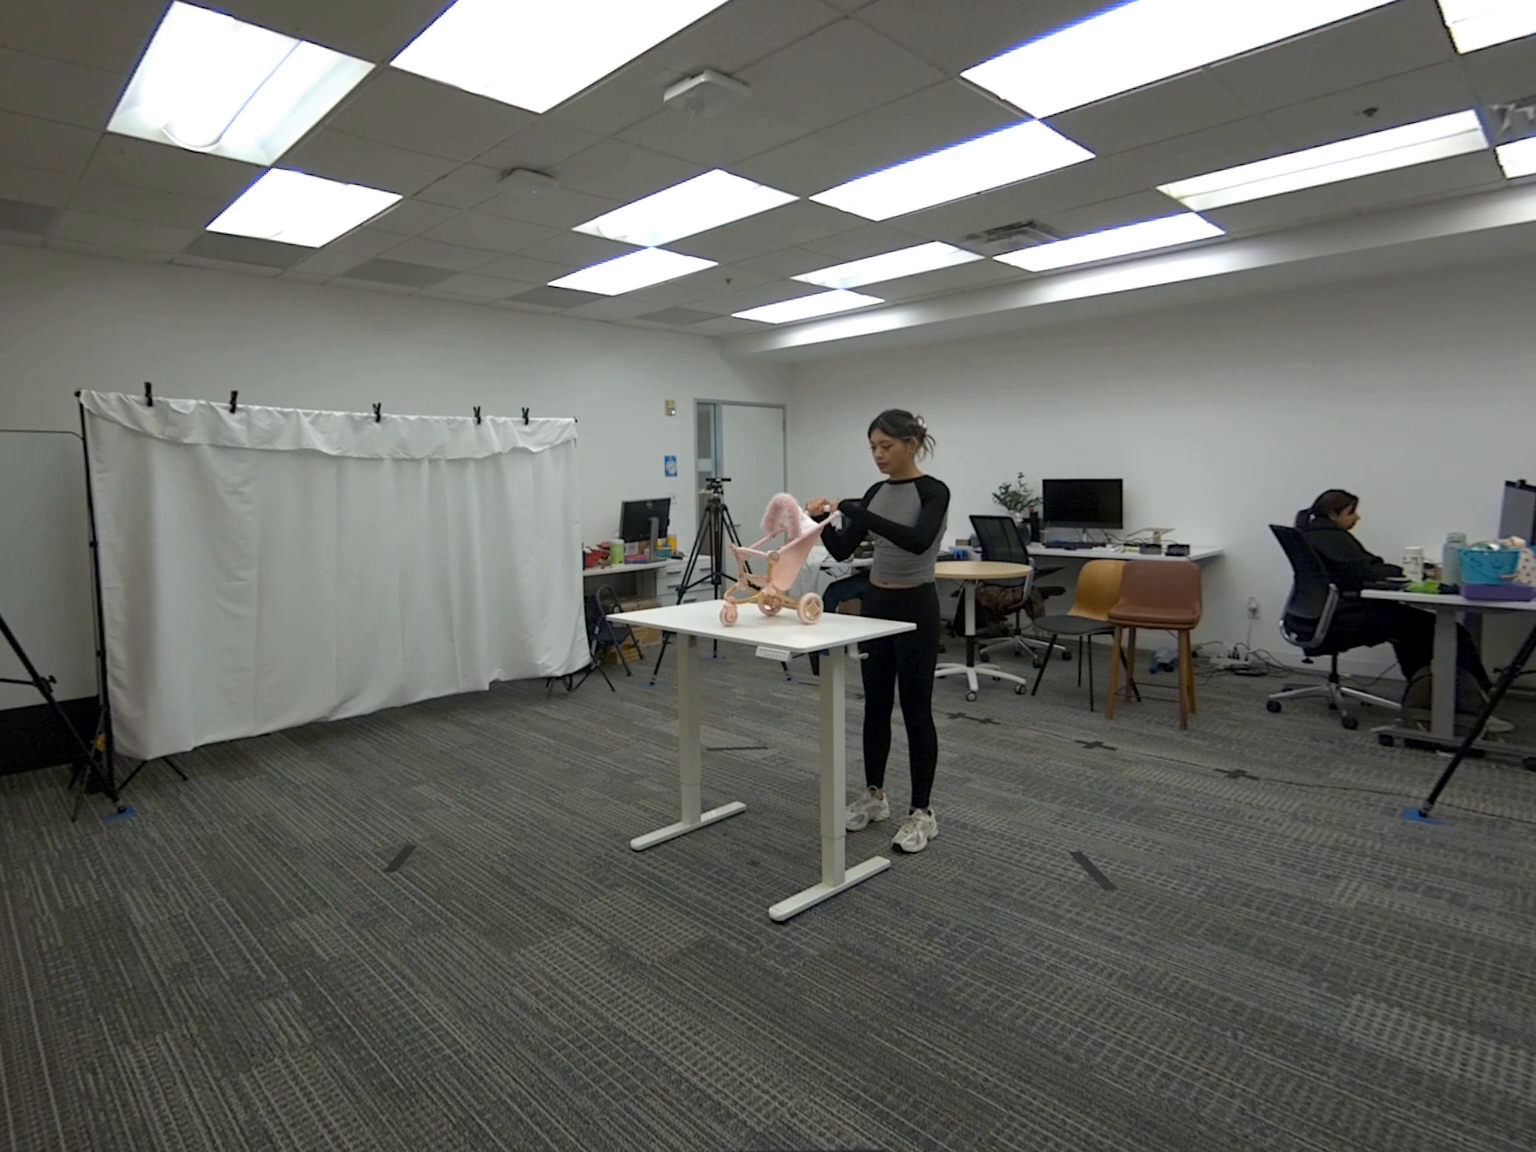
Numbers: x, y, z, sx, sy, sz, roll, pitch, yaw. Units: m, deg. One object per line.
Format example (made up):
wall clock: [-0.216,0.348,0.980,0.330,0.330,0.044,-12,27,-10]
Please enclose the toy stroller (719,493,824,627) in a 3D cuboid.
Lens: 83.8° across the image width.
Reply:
toy stroller: [0.038,-0.058,3.040,0.331,0.536,0.289,17,-5,-28]
